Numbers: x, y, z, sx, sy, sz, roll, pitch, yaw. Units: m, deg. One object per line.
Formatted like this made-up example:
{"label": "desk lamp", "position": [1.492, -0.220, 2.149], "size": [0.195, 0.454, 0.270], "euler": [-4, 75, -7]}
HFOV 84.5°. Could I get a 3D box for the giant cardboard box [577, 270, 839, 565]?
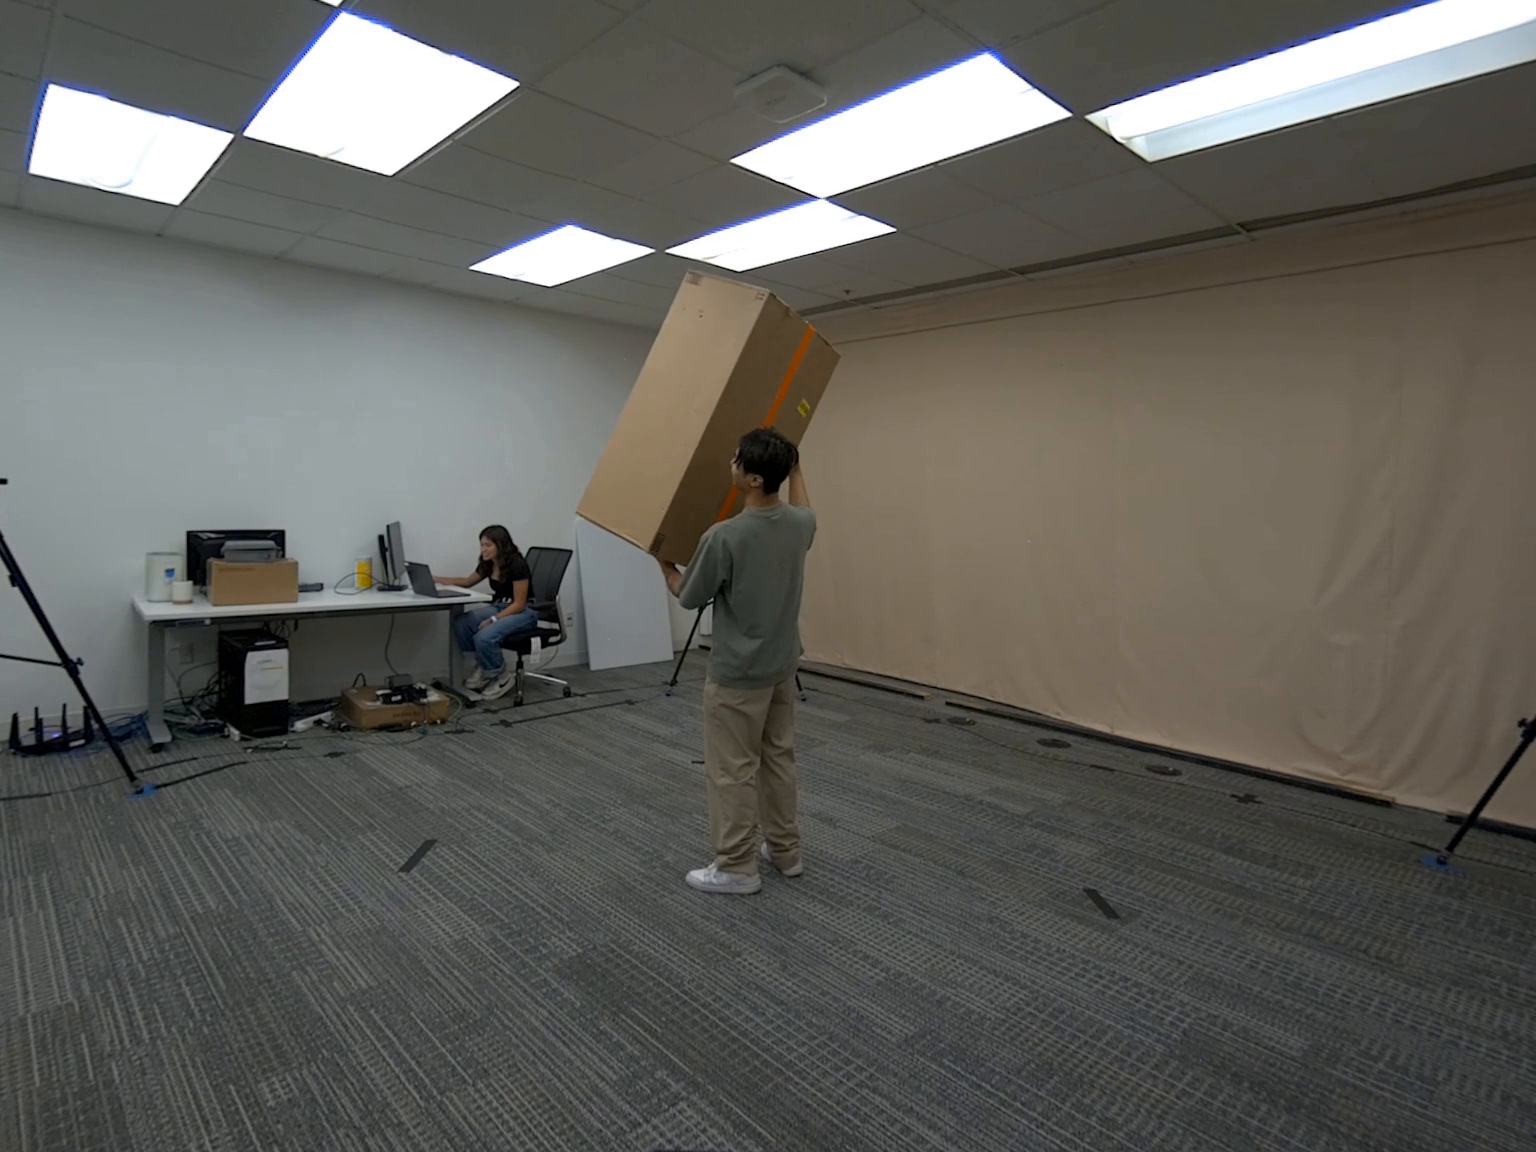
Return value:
{"label": "giant cardboard box", "position": [-0.225, -0.559, 3.300], "size": [0.439, 1.025, 0.561], "euler": [27, 2, 34]}
